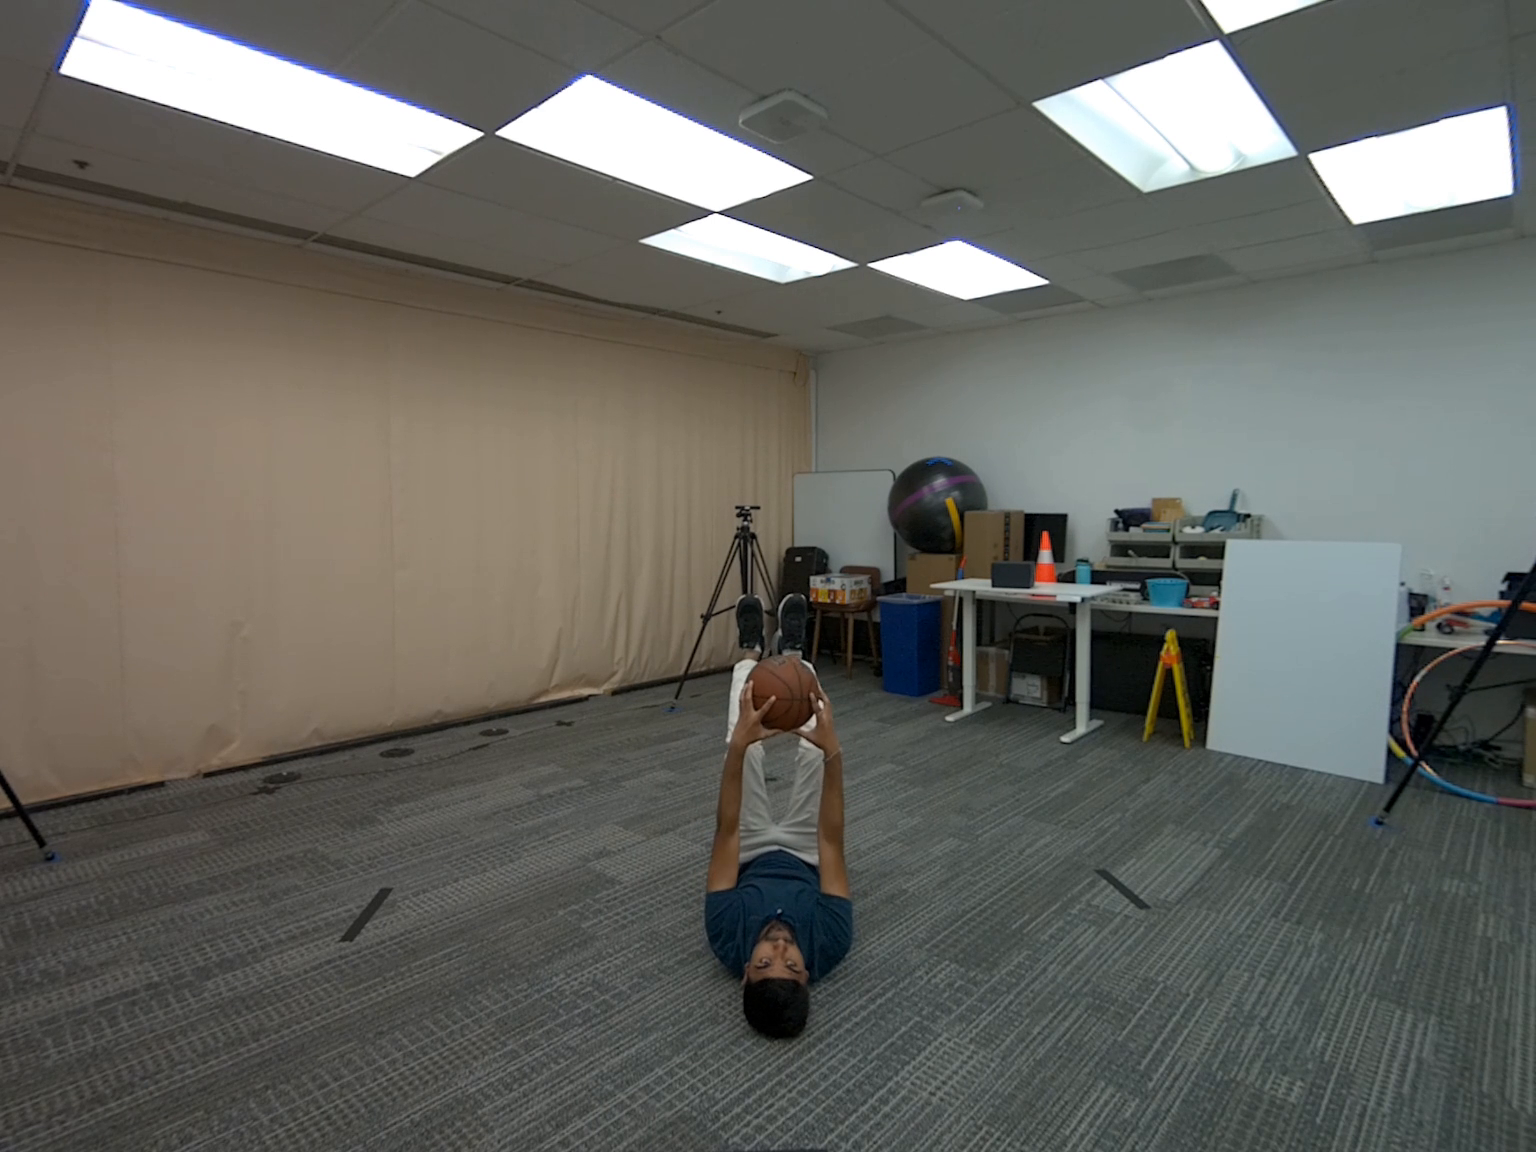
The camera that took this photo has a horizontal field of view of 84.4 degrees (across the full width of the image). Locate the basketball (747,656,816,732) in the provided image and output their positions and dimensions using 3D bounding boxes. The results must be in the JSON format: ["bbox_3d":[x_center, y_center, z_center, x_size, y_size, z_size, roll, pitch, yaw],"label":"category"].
[{"bbox_3d":[0.047,0.372,2.639,0.236,0.235,0.237,0,4,-2],"label":"basketball"}]
